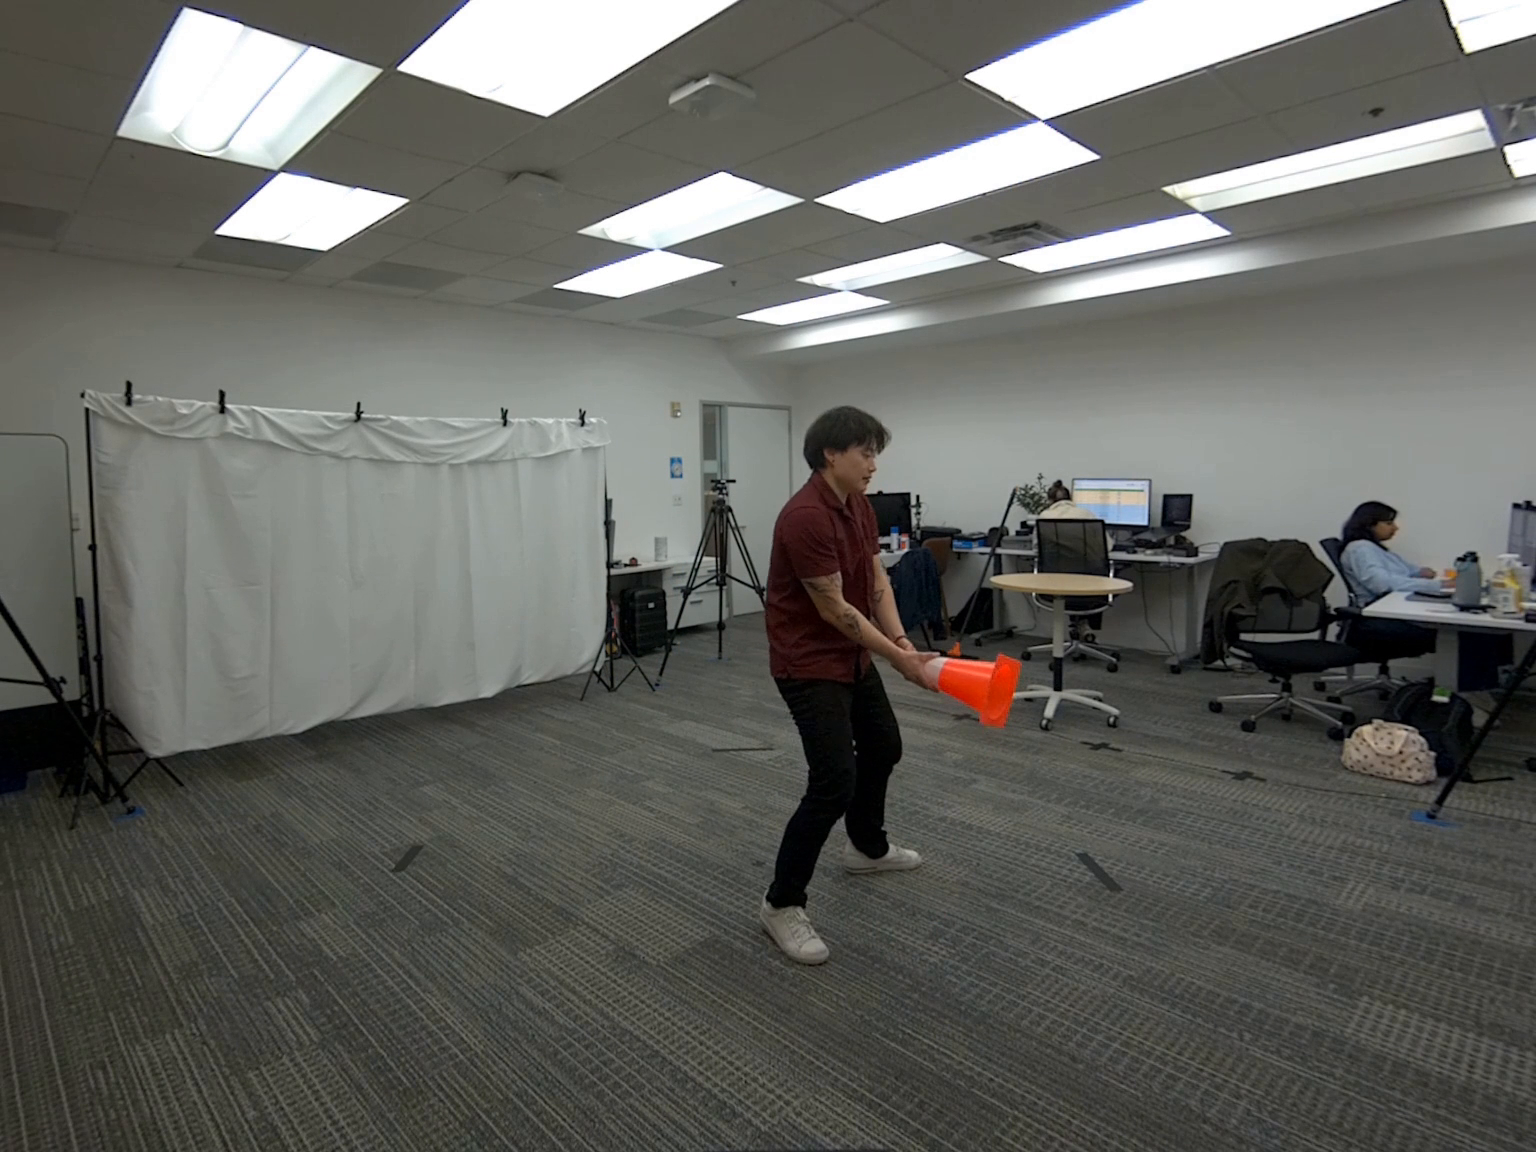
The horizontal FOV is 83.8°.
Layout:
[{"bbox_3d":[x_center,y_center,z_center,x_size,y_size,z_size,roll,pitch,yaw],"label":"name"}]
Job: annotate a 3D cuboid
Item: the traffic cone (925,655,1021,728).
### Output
[{"bbox_3d":[0.518,0.292,2.532,0.397,0.205,0.196,14,-5,40],"label":"traffic cone"}]
